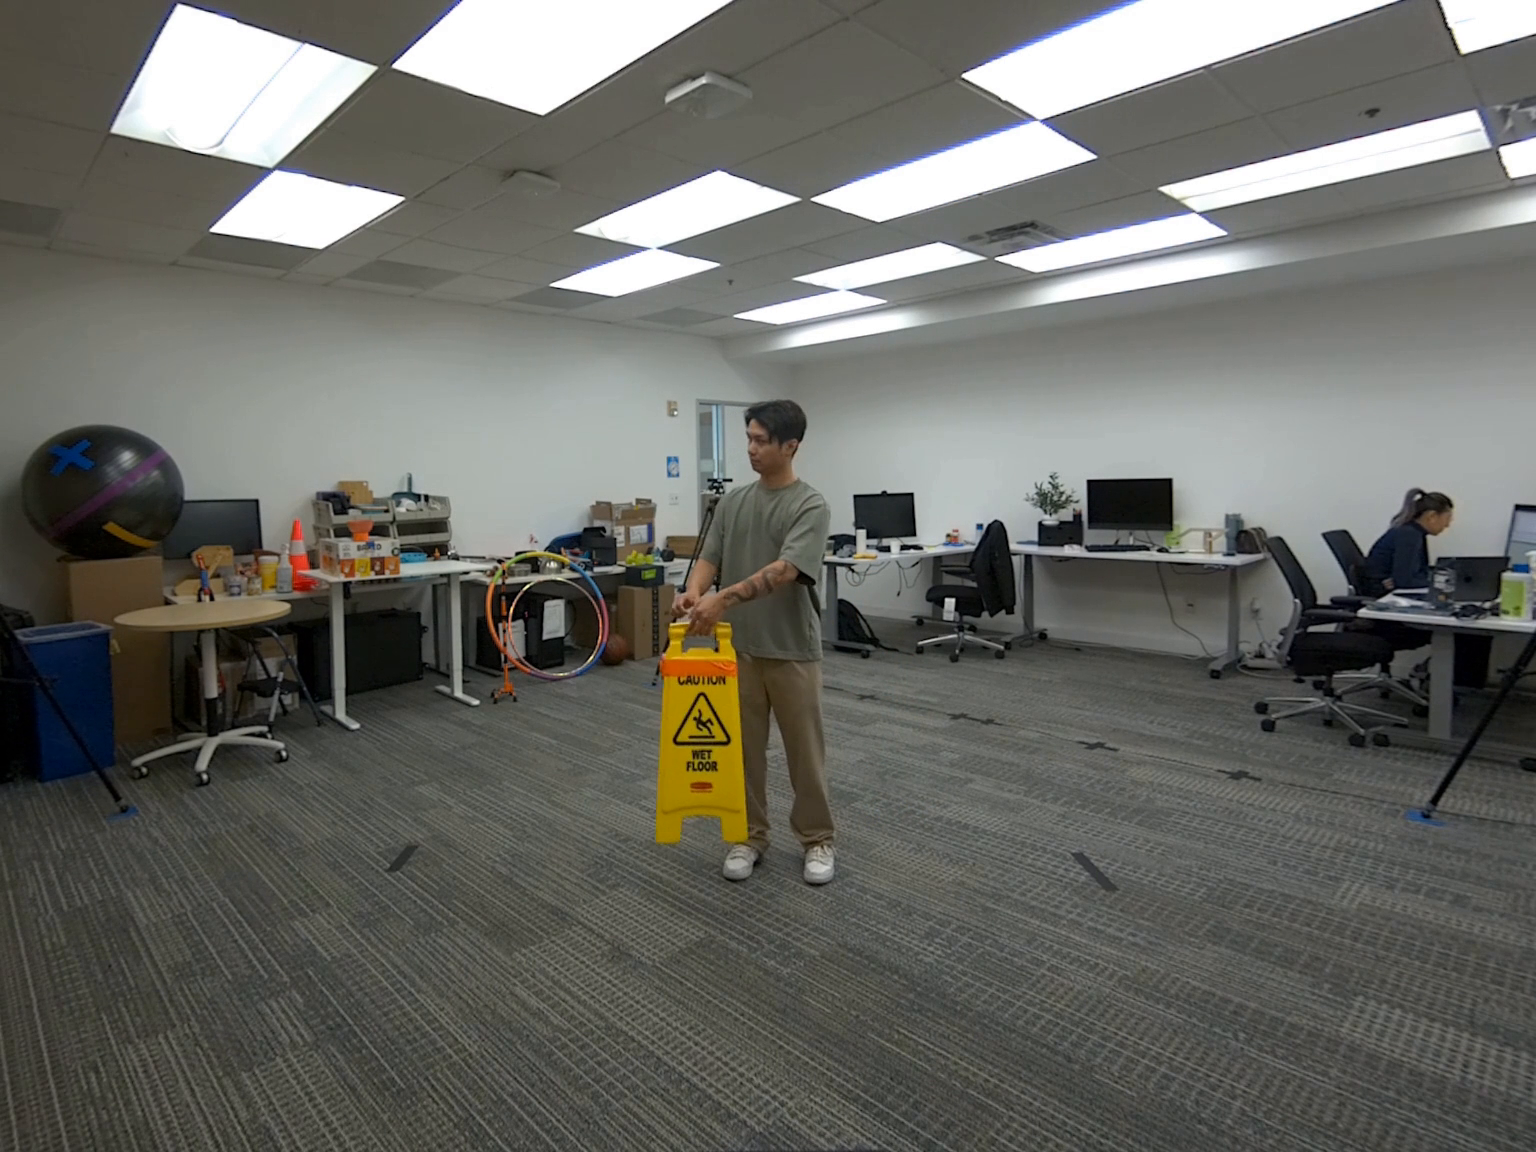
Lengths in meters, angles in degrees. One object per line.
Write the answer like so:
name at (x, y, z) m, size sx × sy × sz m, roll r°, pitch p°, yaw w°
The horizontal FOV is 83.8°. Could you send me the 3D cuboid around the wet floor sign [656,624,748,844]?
wet floor sign at (-0.217, 0.482, 2.702) m, size 0.282 × 0.647 × 0.290 m, roll -2°, pitch -2°, yaw -3°
